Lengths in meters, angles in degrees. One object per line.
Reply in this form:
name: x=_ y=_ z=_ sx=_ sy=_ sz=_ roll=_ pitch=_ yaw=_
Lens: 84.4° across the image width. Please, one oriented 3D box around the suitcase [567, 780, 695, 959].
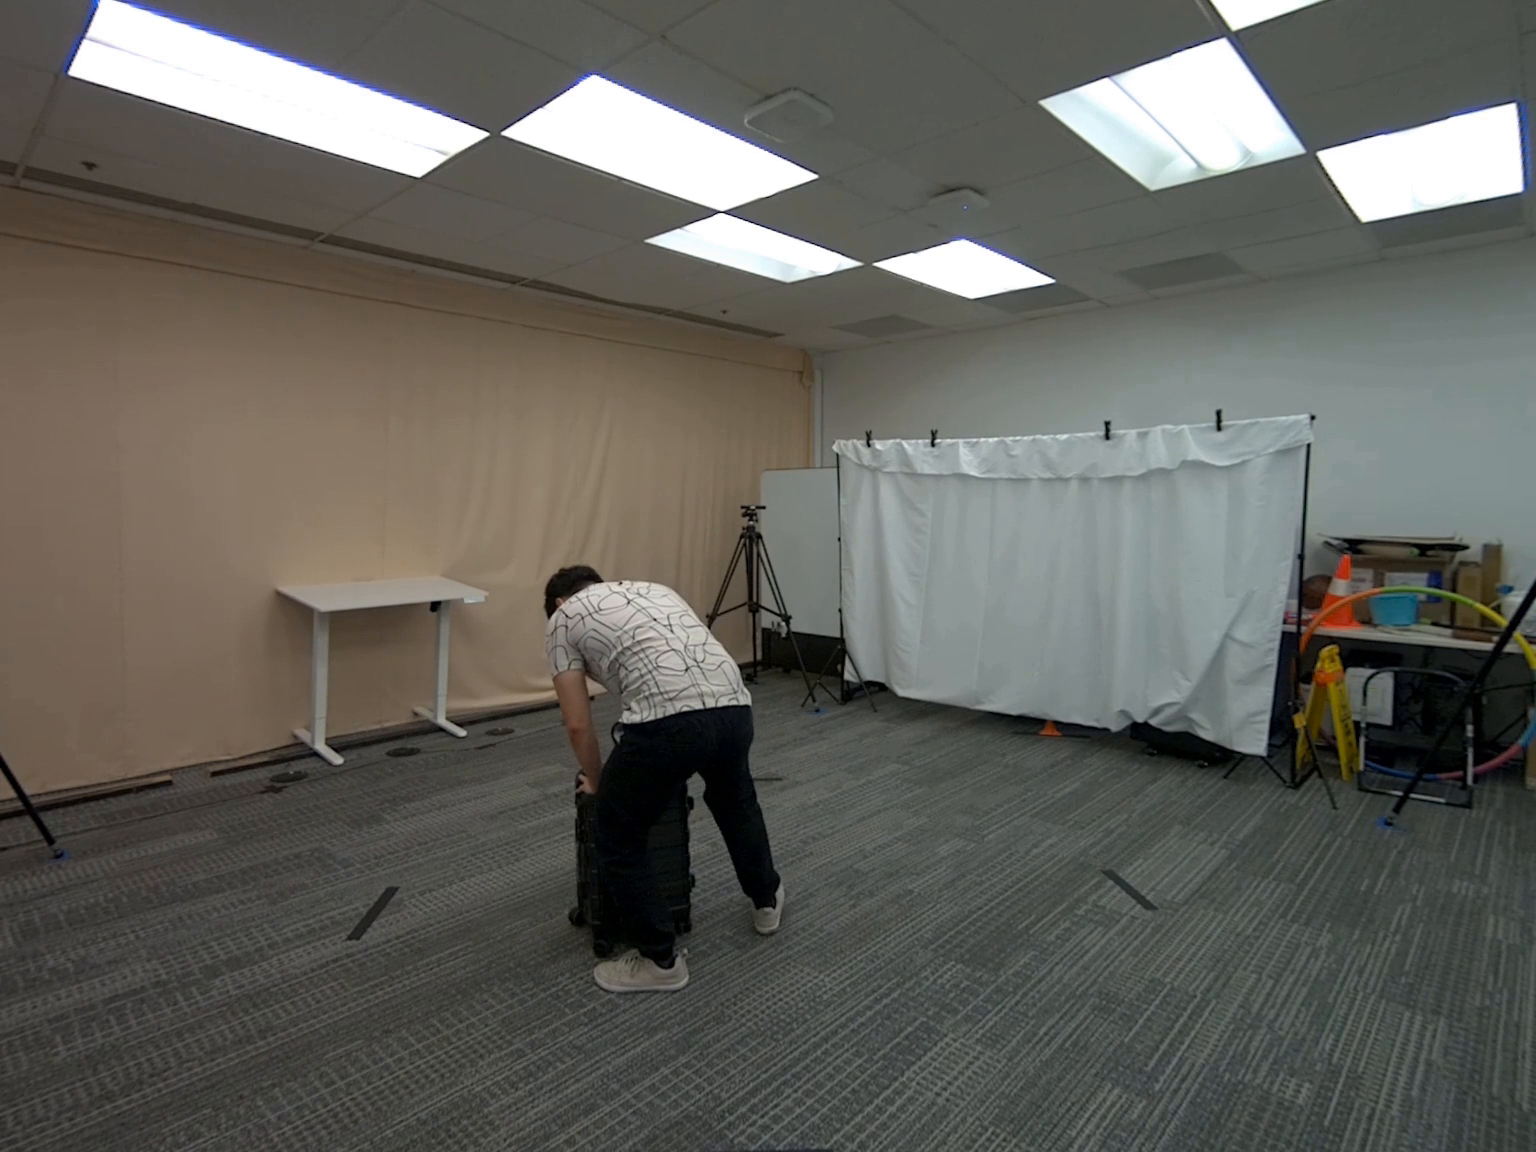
suitcase: x=-0.452 y=0.889 z=2.768 sx=0.367 sy=0.548 sz=0.254 roll=-1 pitch=3 yaw=-23
